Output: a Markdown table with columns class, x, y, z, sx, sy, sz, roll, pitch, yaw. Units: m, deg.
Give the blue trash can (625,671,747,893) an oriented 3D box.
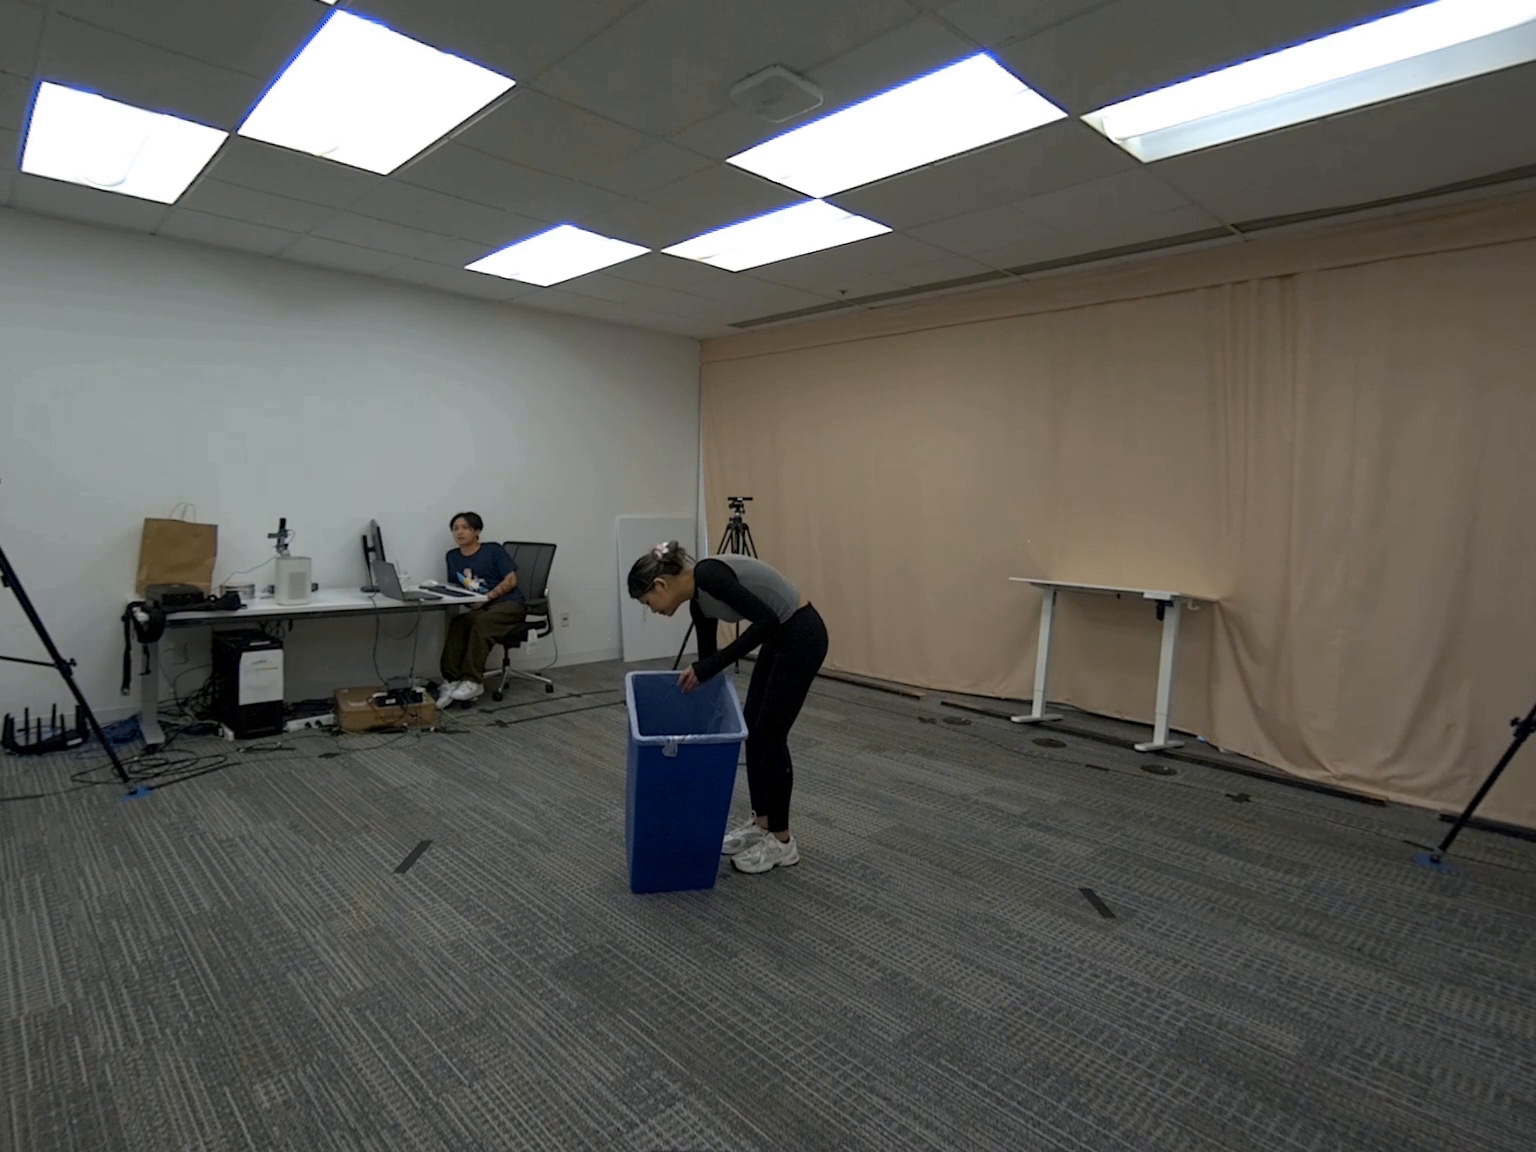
| class | x | y | z | sx | sy | sz | roll | pitch | yaw |
| --- | --- | --- | --- | --- | --- | --- | --- | --- | --- |
| blue trash can | -0.333 | 0.726 | 2.949 | 0.374 | 0.703 | 0.384 | 1 | 28 | -14 |
